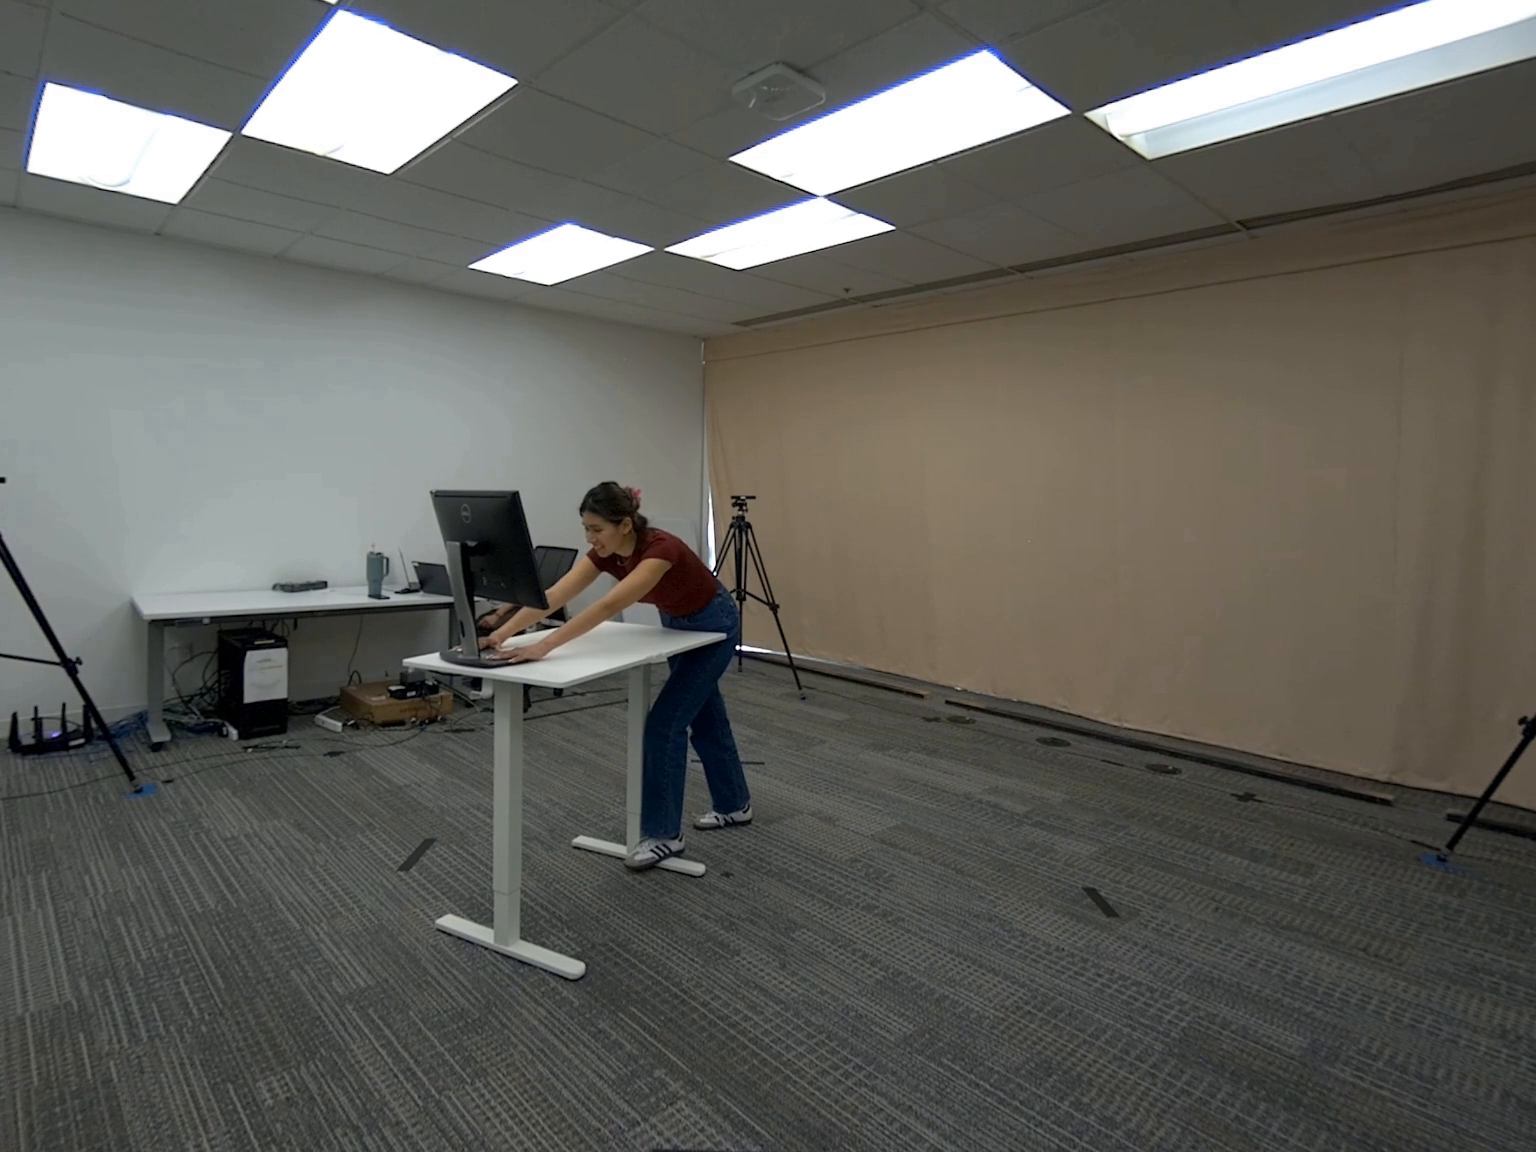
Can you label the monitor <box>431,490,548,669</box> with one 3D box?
[{"bbox_3d":[-0.873,0.002,2.533,0.552,0.520,0.183,4,7,39],"label":"monitor"}]
